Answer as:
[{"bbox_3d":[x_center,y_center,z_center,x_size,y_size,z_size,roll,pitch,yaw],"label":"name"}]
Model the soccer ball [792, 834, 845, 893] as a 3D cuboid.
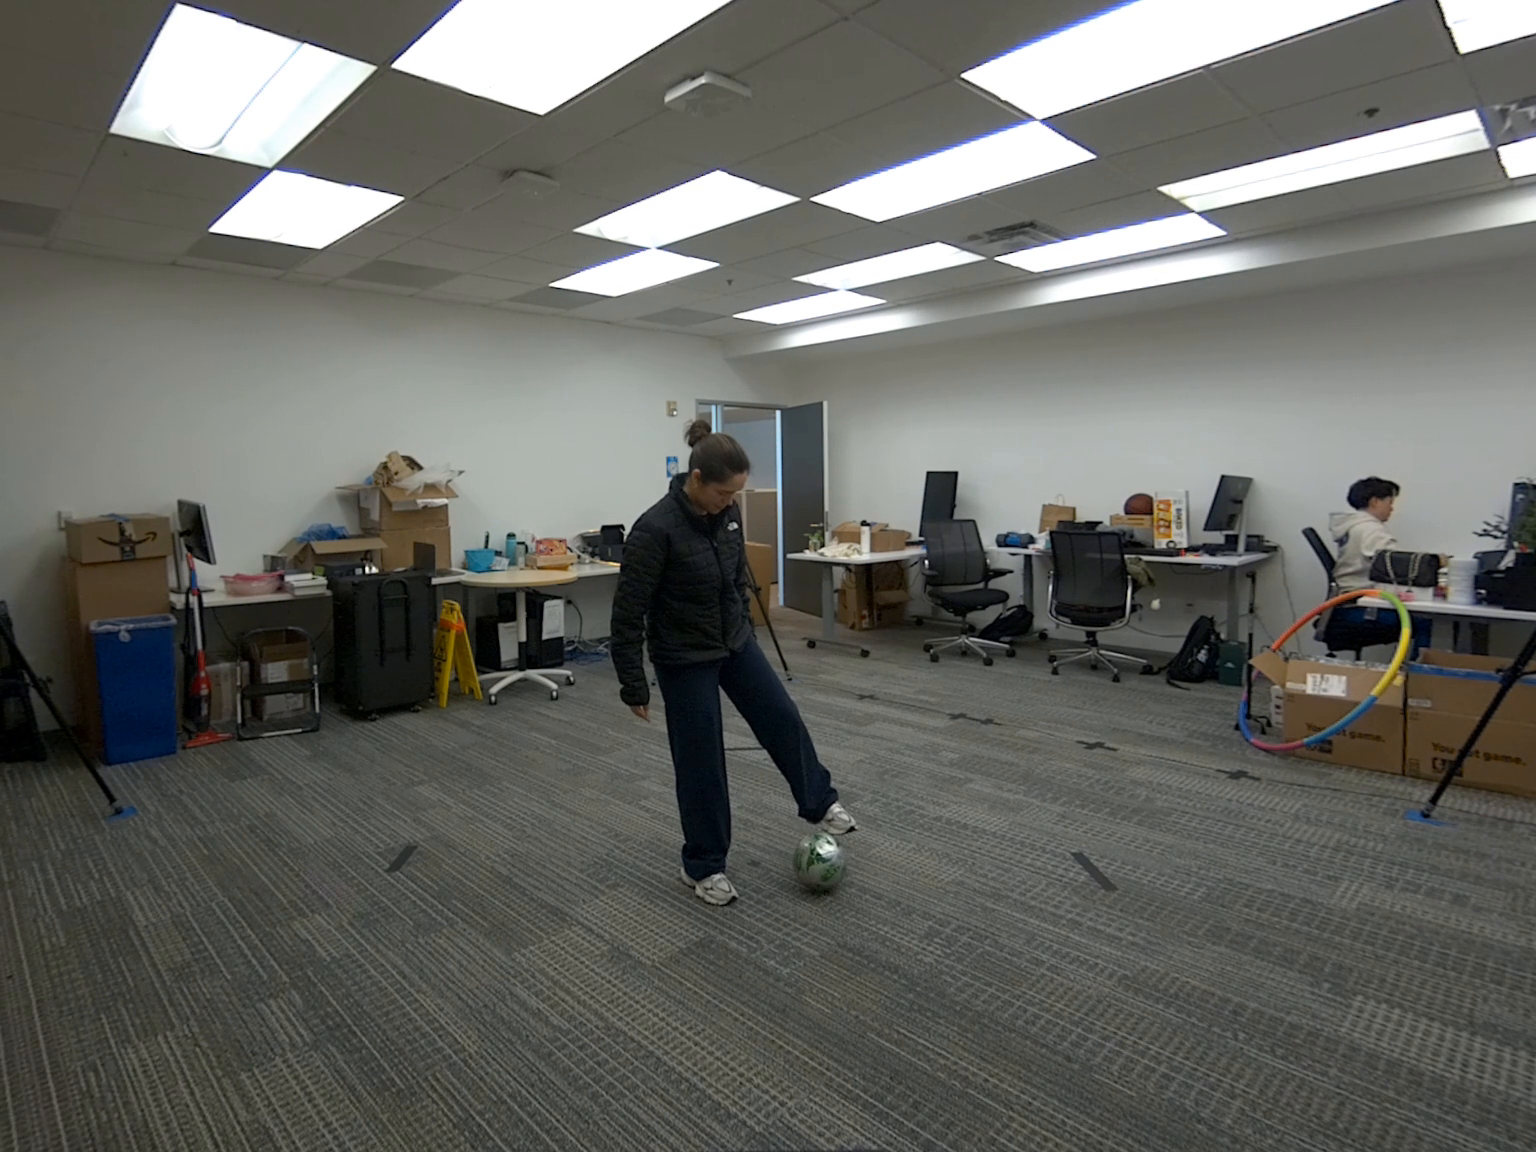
[{"bbox_3d":[0.174,0.962,2.897,0.187,0.187,0.188,-1,5,-2],"label":"soccer ball"}]
